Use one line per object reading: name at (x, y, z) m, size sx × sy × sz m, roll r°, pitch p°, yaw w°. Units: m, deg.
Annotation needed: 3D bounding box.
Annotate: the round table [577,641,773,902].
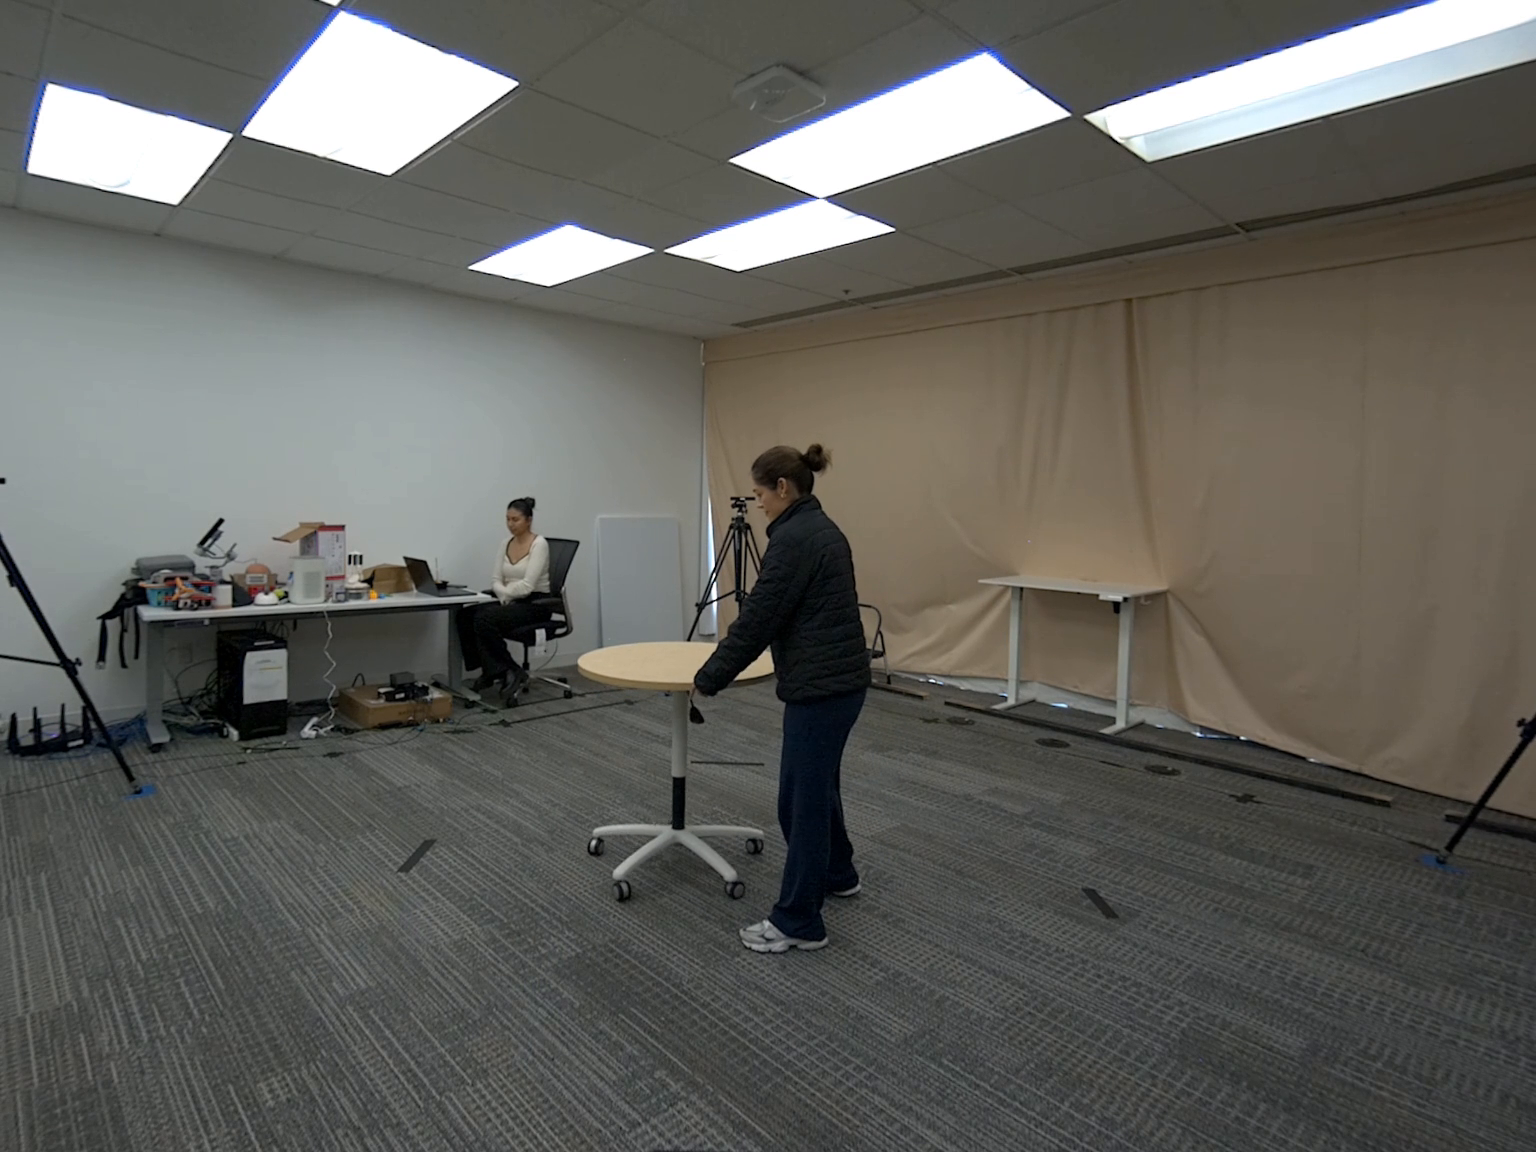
round table at (-0.350, 0.705, 3.149) m, size 0.784 × 0.785 × 0.787 m, roll 1°, pitch 3°, yaw -1°
